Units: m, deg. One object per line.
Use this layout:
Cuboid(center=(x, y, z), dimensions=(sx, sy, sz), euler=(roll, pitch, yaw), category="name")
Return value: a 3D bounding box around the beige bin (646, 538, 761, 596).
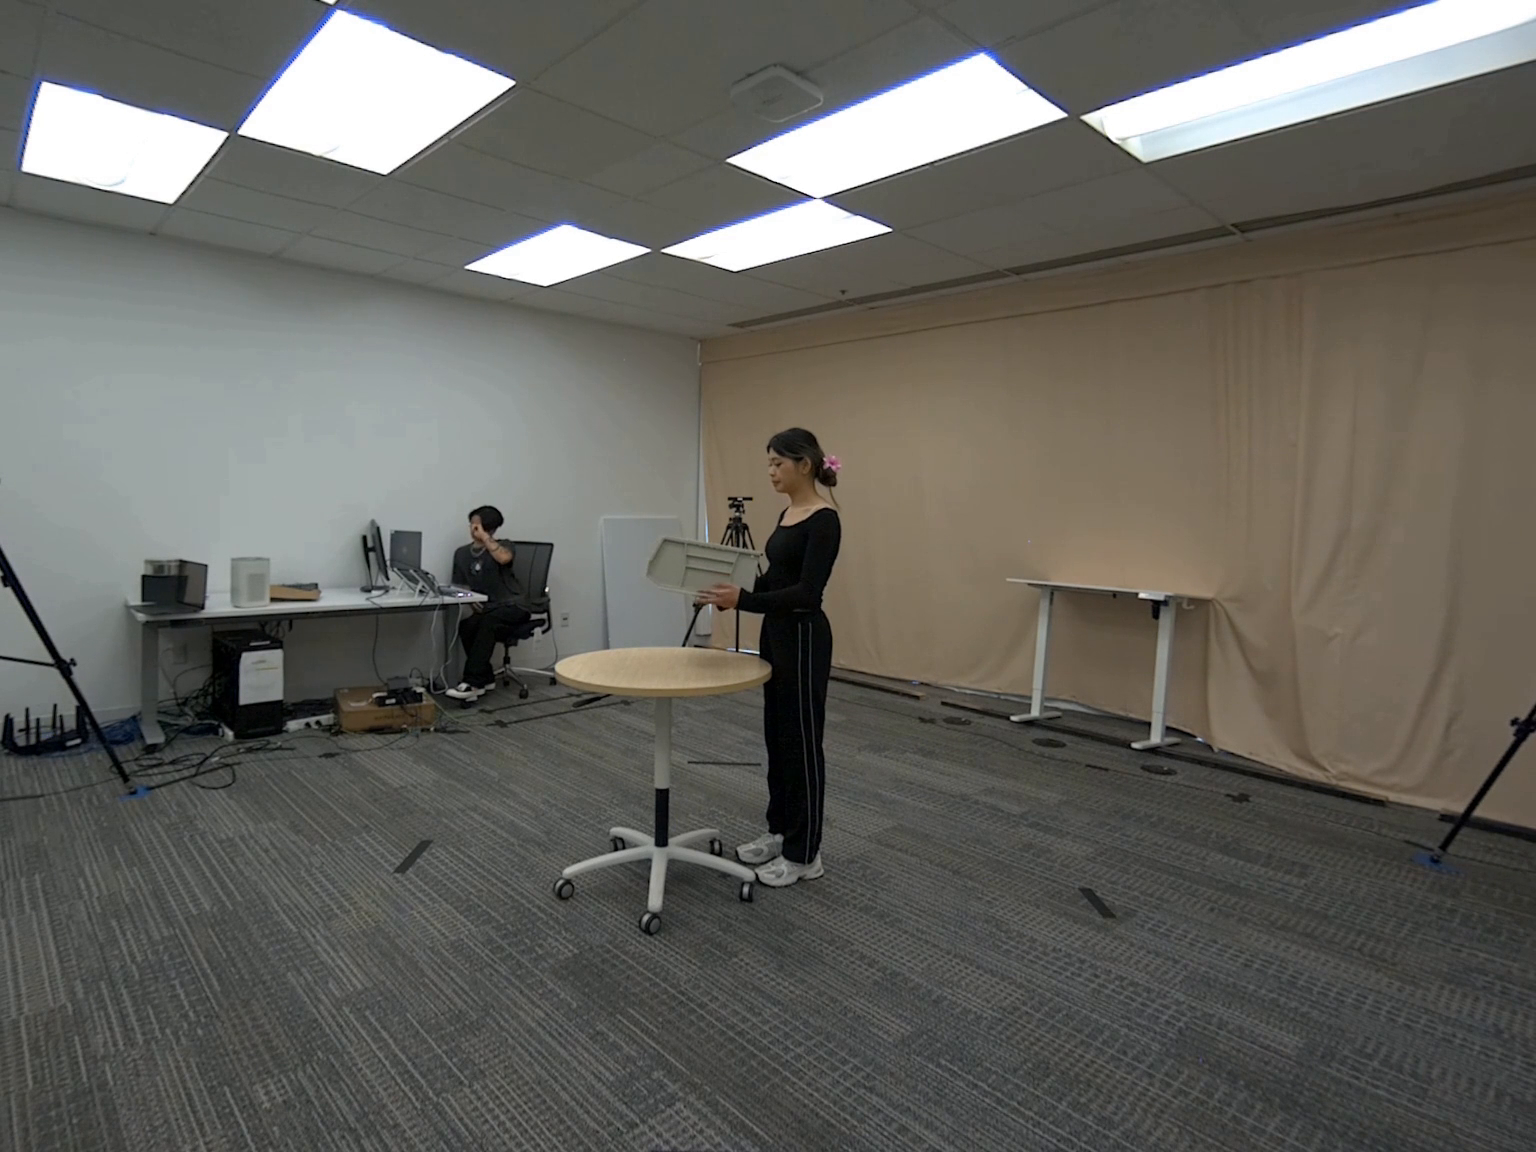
Cuboid(center=(-0.252, -0.025, 3.005), dimensions=(0.375, 0.189, 0.425), euler=(11, 0, -8), category="beige bin")
